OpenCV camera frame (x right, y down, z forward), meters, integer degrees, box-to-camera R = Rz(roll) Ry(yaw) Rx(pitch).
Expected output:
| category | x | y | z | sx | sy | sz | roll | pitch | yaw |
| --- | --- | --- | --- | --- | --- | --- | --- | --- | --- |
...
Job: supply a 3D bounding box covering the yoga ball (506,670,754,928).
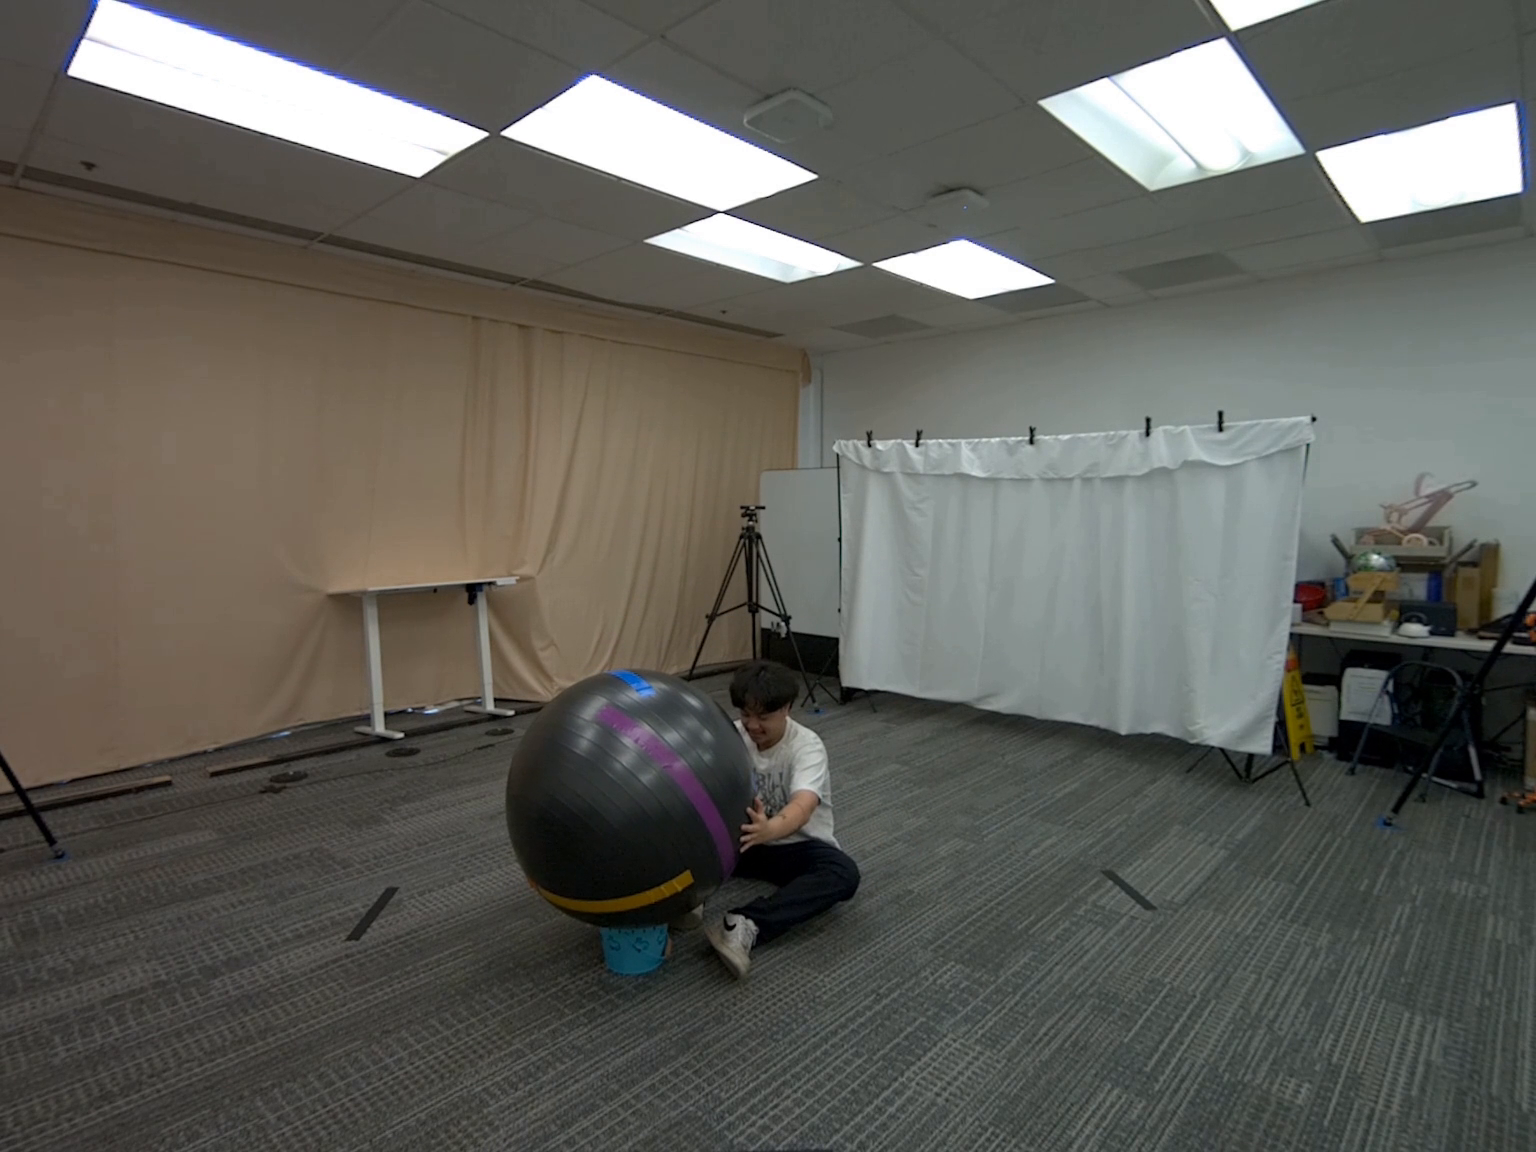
| category | x | y | z | sx | sy | sz | roll | pitch | yaw |
| --- | --- | --- | --- | --- | --- | --- | --- | --- | --- |
| yoga ball | -0.417 | 0.670 | 2.581 | 0.757 | 0.756 | 0.760 | 0 | 4 | -2 |
